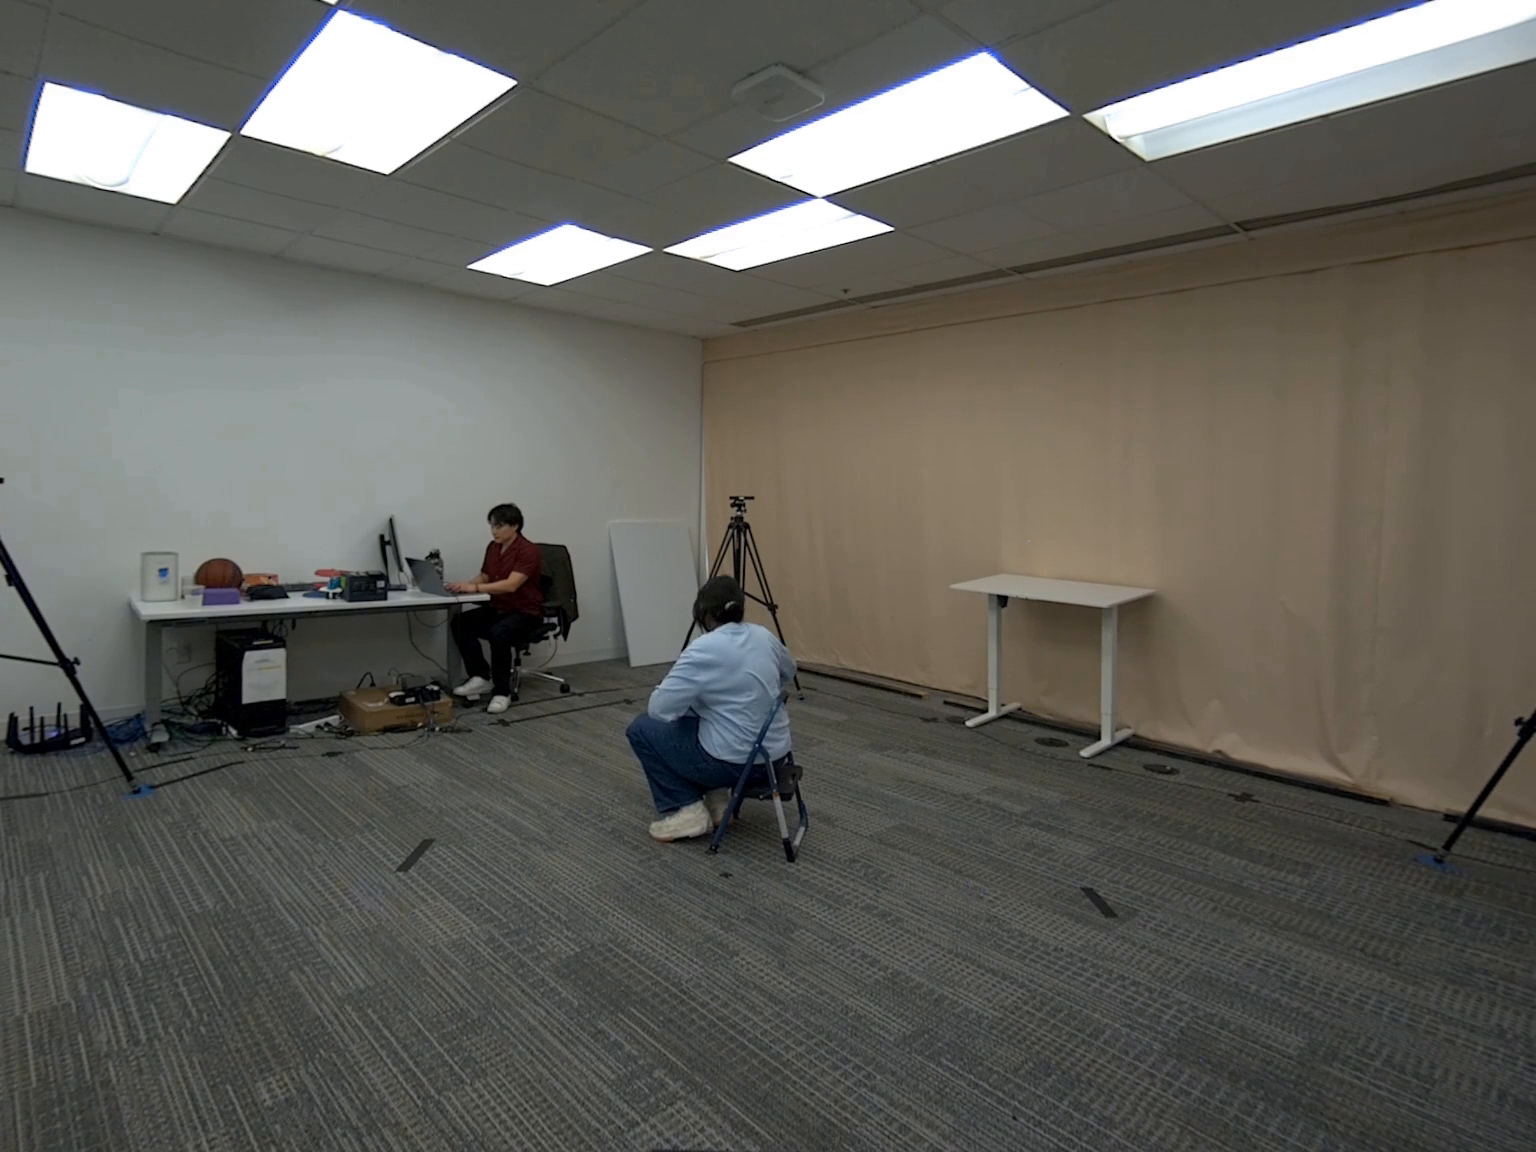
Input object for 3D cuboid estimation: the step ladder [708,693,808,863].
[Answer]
[{"bbox_3d":[-0.025,0.783,3.435,0.352,0.604,0.428,1,5,10],"label":"step ladder"}]
